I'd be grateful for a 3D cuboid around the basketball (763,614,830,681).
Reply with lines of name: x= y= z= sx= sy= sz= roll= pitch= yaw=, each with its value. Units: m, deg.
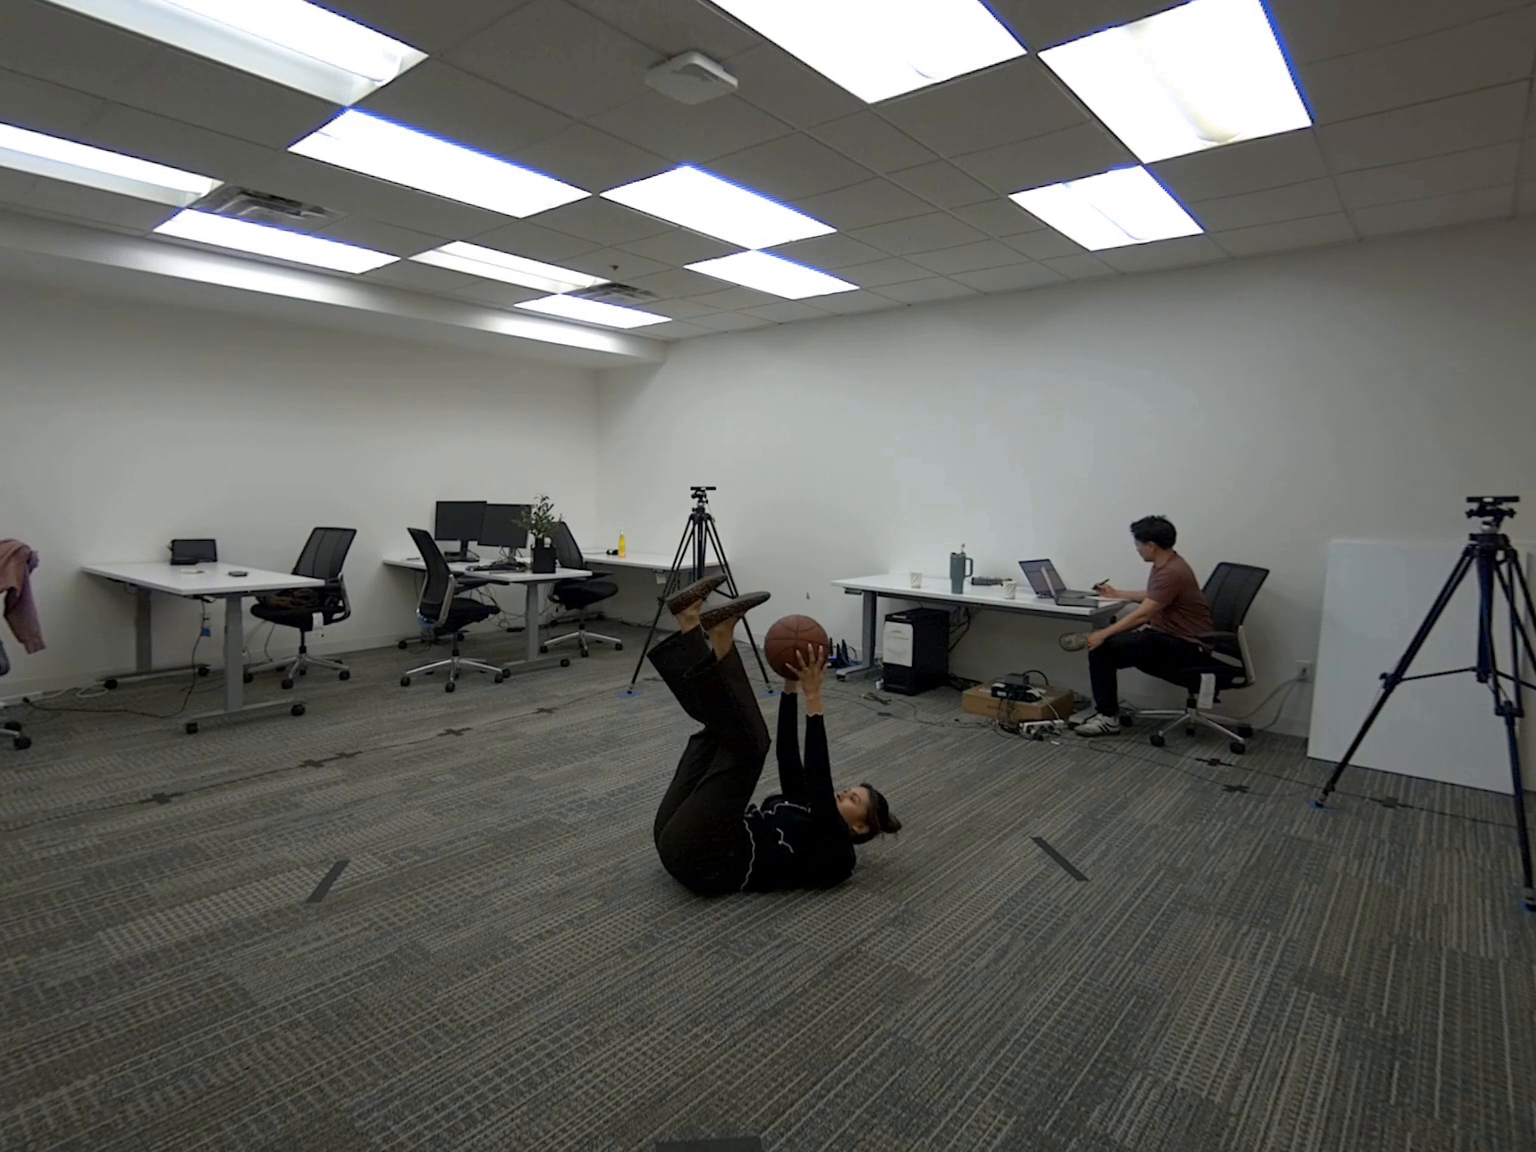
basketball: x=0.087 y=0.256 z=3.054 sx=0.236 sy=0.235 sz=0.237 roll=1 pitch=4 yaw=-2
